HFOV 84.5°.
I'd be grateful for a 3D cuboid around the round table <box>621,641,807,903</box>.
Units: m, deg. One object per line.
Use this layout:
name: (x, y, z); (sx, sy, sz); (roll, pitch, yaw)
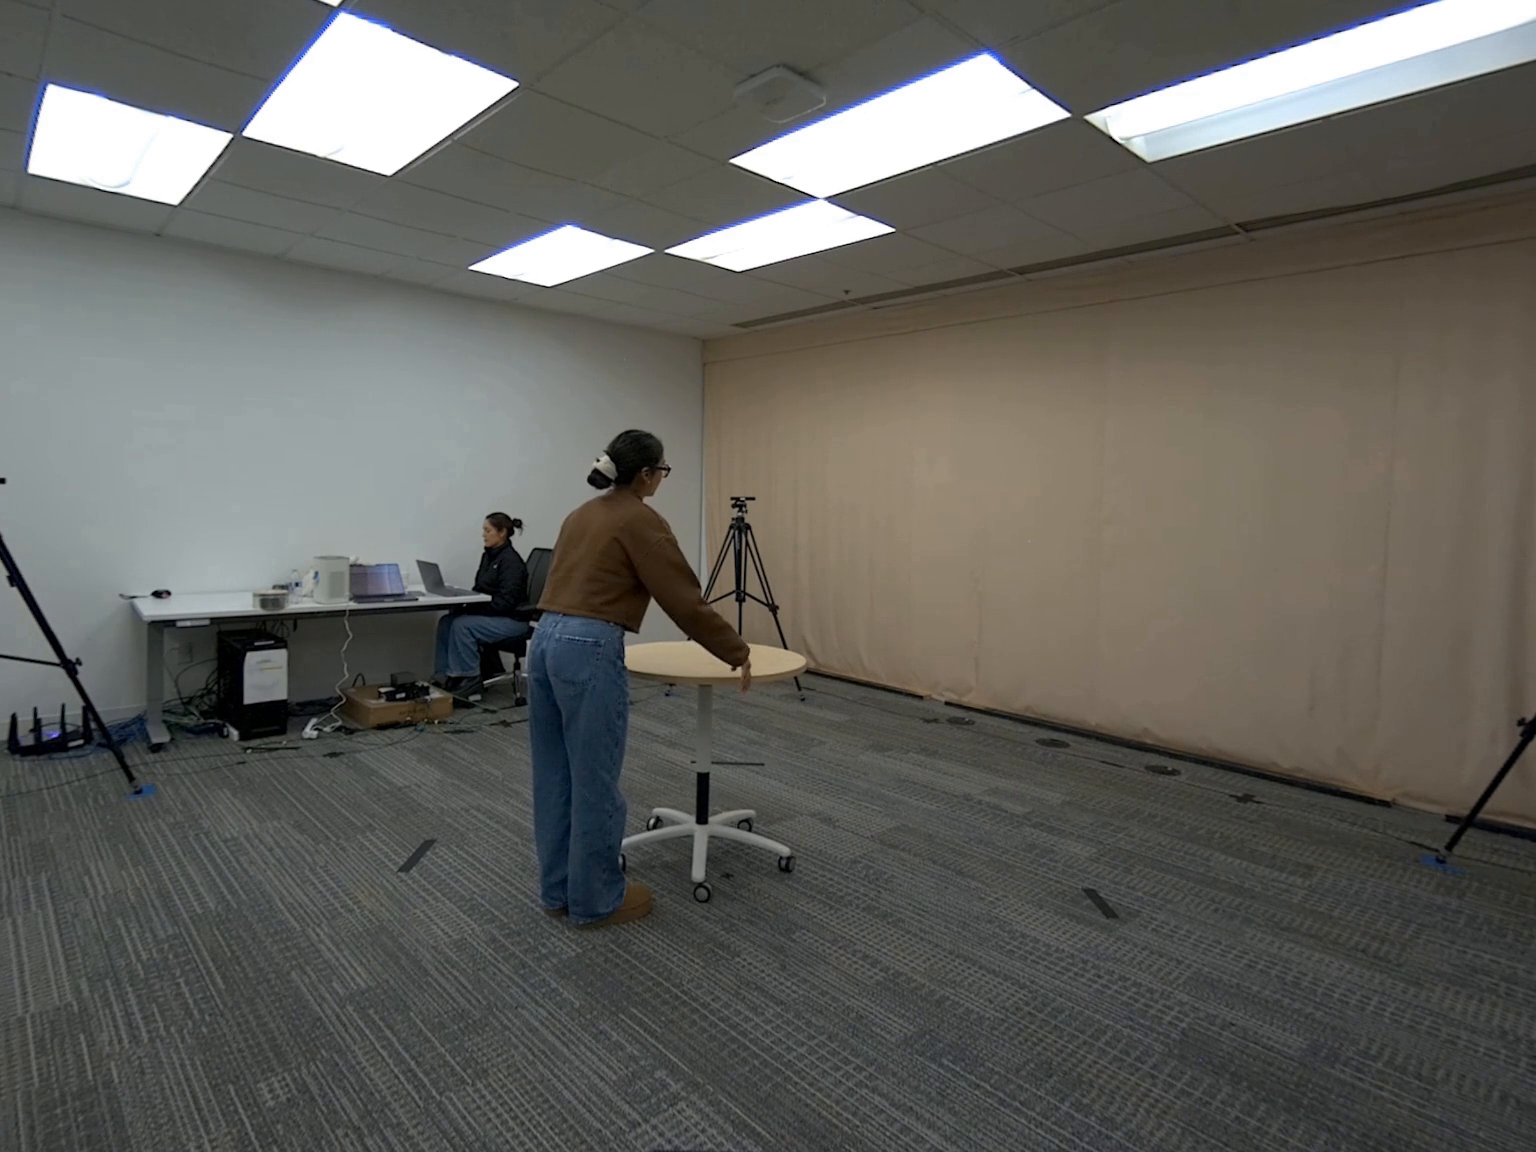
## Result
round table: (-0.244, 0.704, 3.223); (0.763, 0.792, 0.766); (1, 3, -1)
